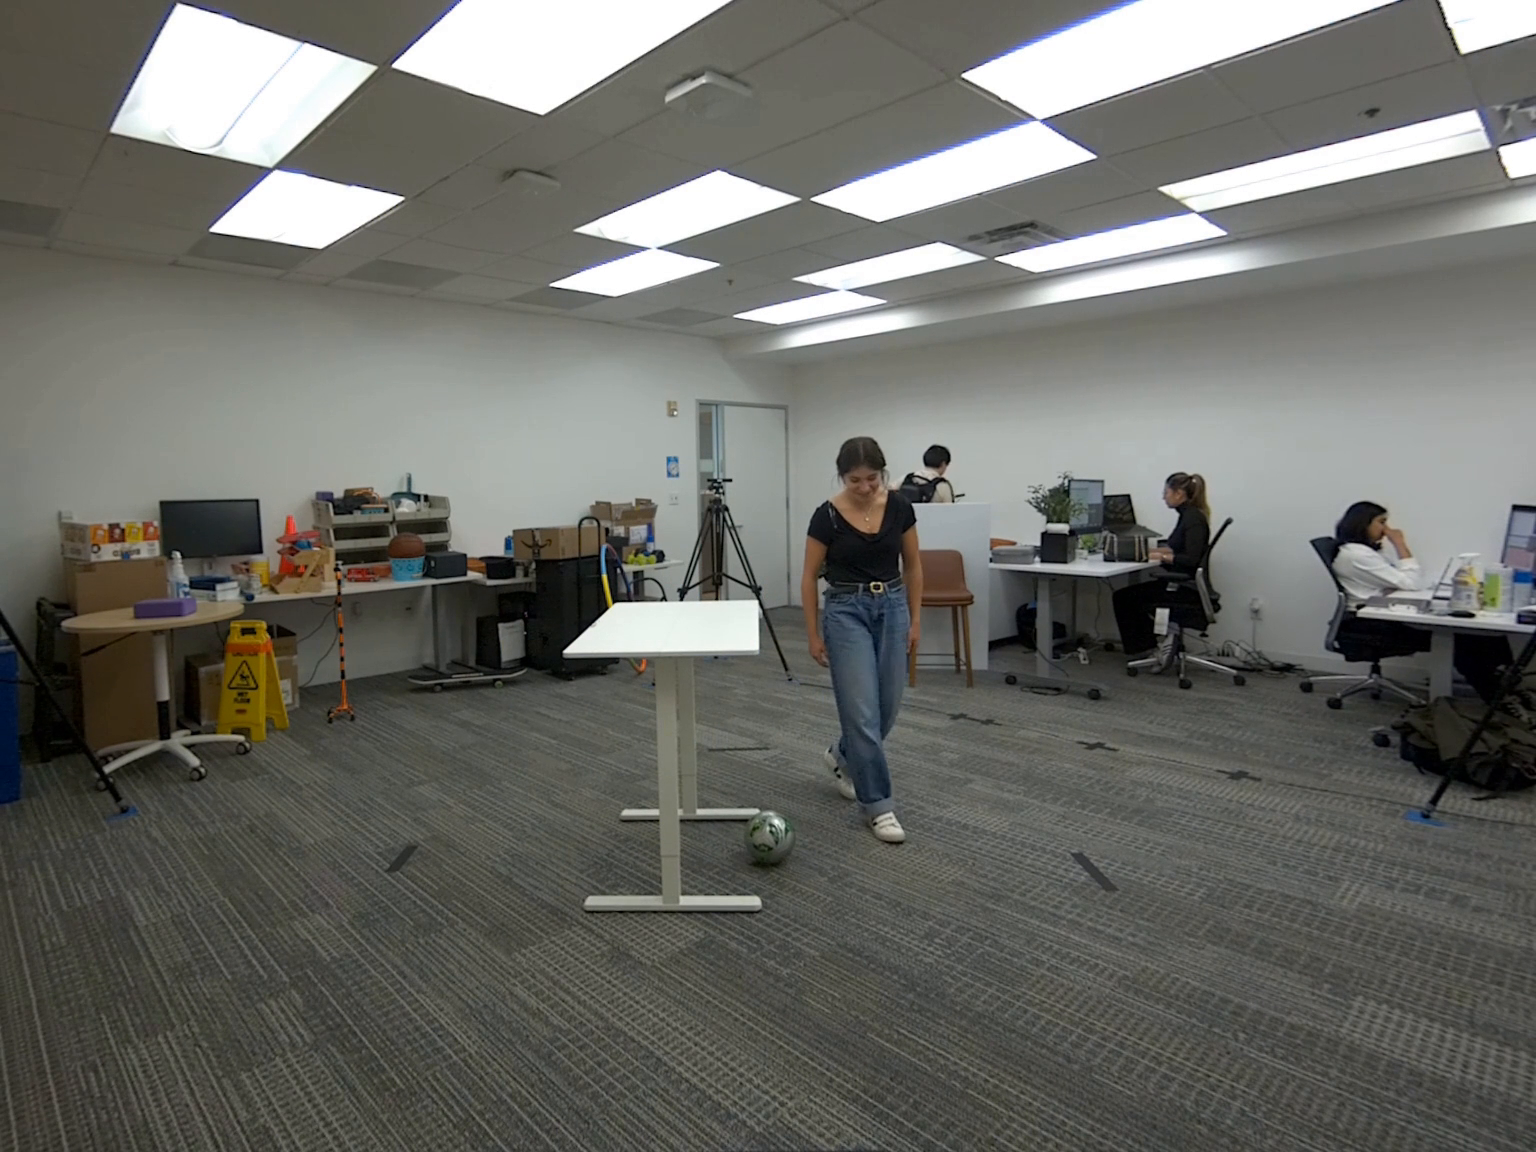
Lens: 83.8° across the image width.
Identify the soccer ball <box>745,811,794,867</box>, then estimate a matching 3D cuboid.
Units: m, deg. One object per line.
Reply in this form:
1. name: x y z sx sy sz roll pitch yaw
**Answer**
1. soccer ball: 0.005 0.954 3.113 0.187 0.187 0.188 -1 5 -2
